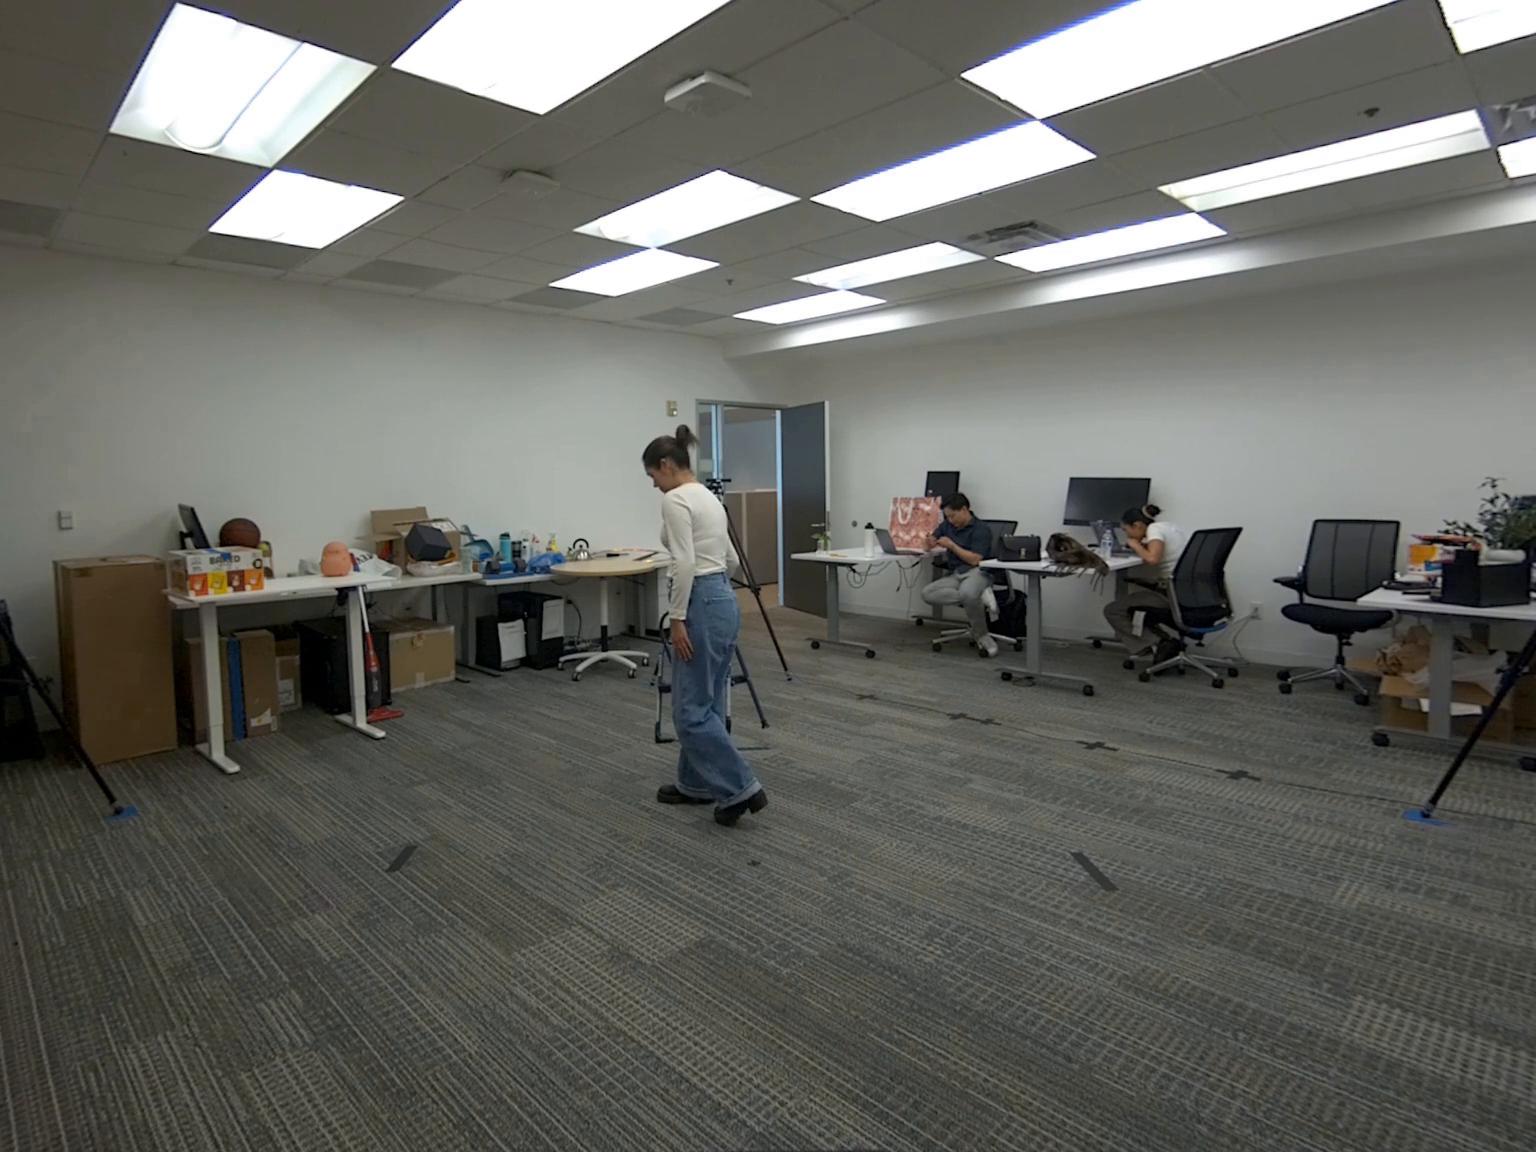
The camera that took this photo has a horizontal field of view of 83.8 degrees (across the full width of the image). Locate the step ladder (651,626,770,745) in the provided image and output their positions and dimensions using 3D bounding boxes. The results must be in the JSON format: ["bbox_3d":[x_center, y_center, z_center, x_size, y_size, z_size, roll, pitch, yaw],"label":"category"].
[{"bbox_3d":[-0.302,0.444,3.986,0.440,0.609,0.340,-11,-6,33],"label":"step ladder"}]
